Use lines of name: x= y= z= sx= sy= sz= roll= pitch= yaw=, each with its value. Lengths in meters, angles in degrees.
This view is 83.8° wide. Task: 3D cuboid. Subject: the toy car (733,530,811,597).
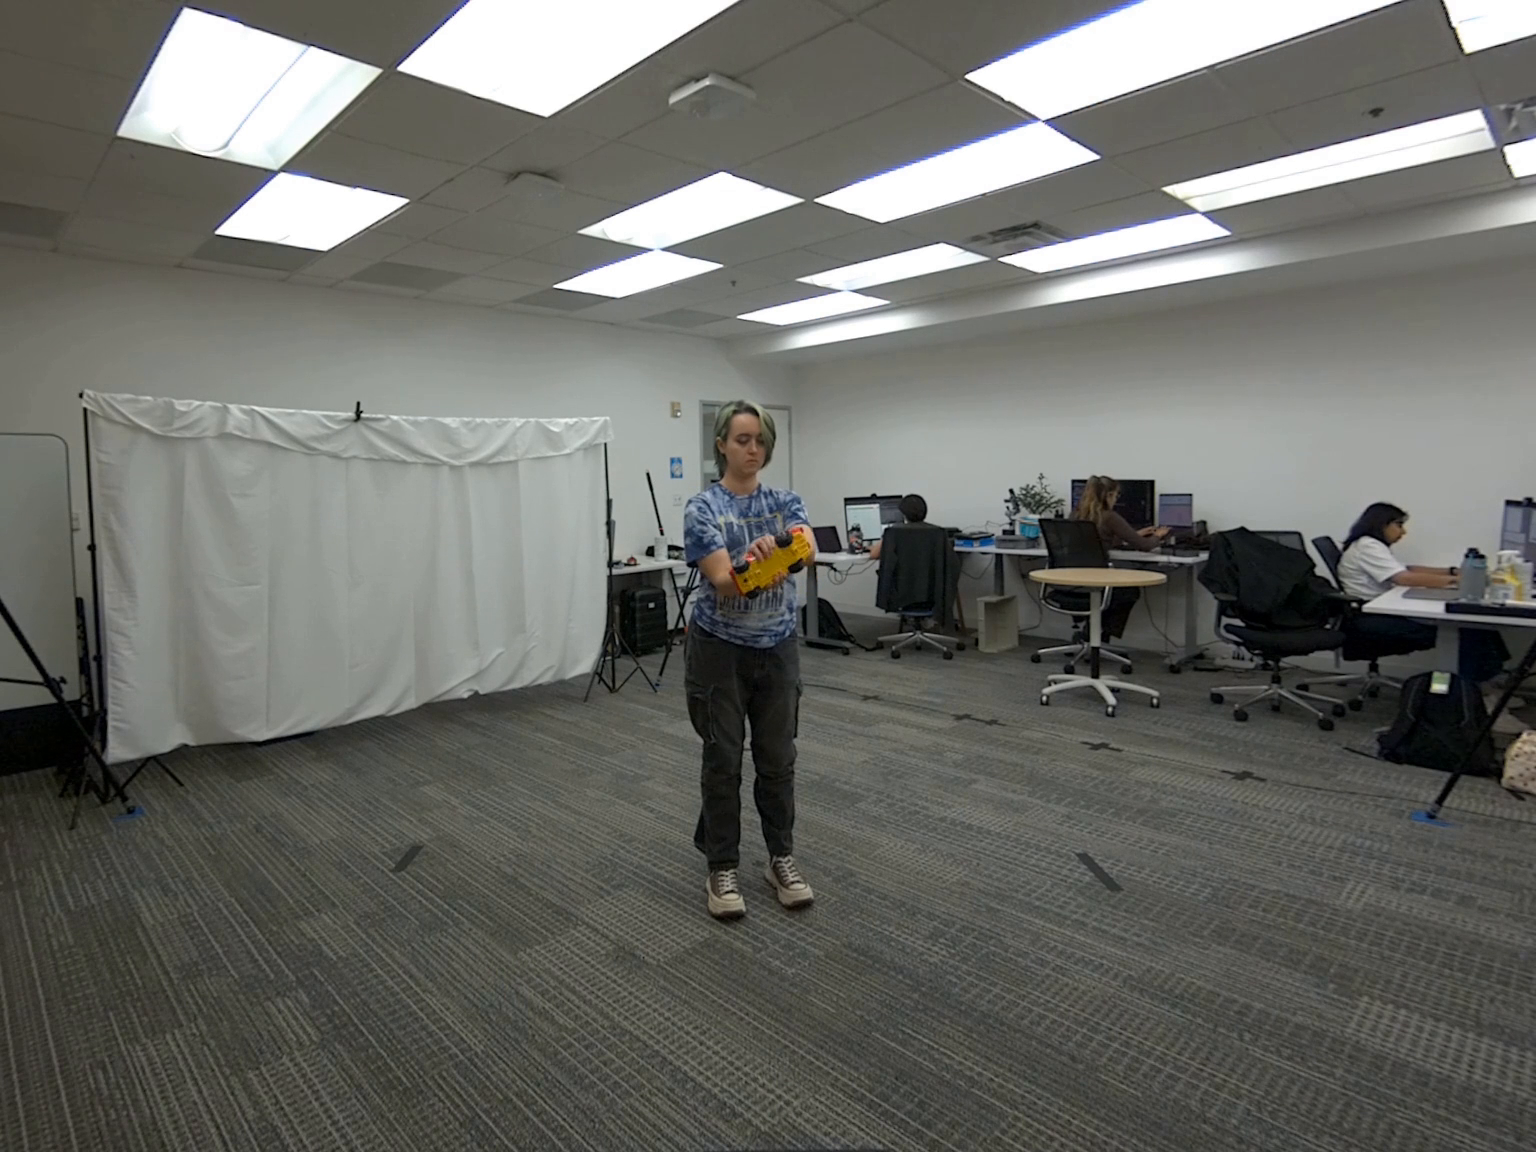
toy car: x=0.020 y=-0.041 z=2.375 sx=0.253 sy=0.127 sz=0.086 roll=-37 pitch=27 yaw=-23
